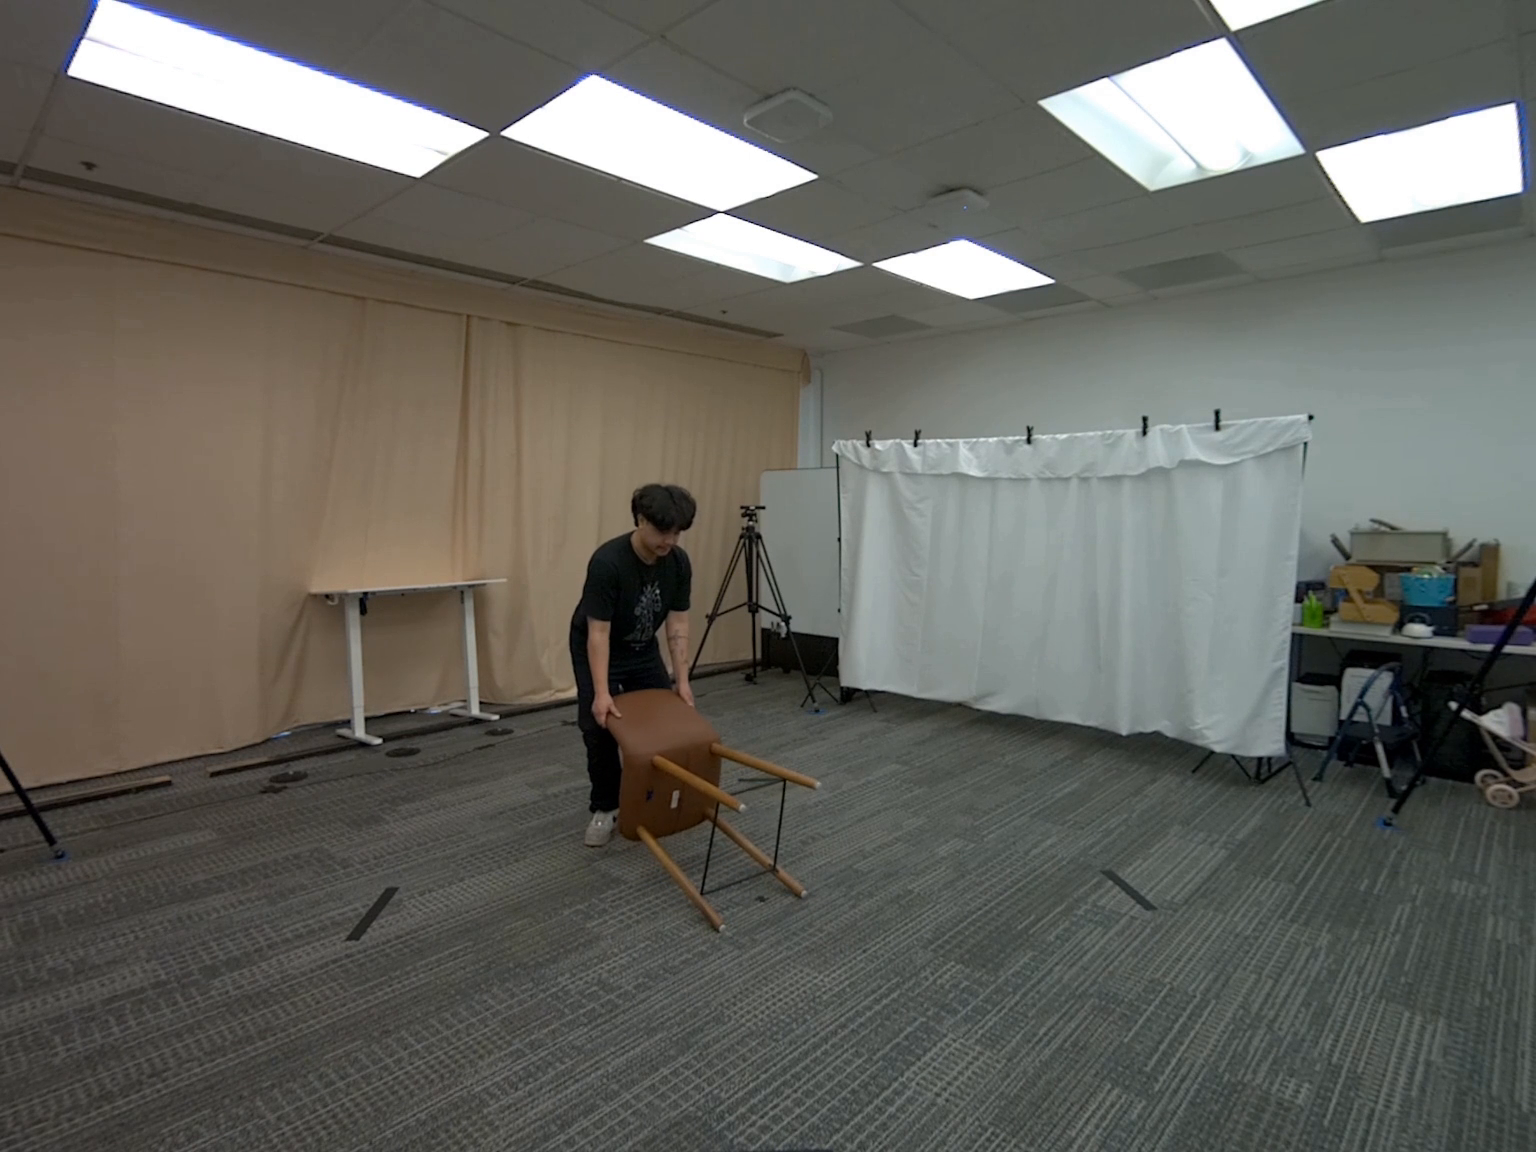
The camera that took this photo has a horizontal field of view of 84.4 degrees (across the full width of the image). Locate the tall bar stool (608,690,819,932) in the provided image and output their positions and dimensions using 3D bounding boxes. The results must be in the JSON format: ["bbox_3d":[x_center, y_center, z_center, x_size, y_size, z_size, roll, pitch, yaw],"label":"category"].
[{"bbox_3d":[-0.265,0.815,3.150,0.442,0.465,0.923,-4,18,-41],"label":"tall bar stool"}]
